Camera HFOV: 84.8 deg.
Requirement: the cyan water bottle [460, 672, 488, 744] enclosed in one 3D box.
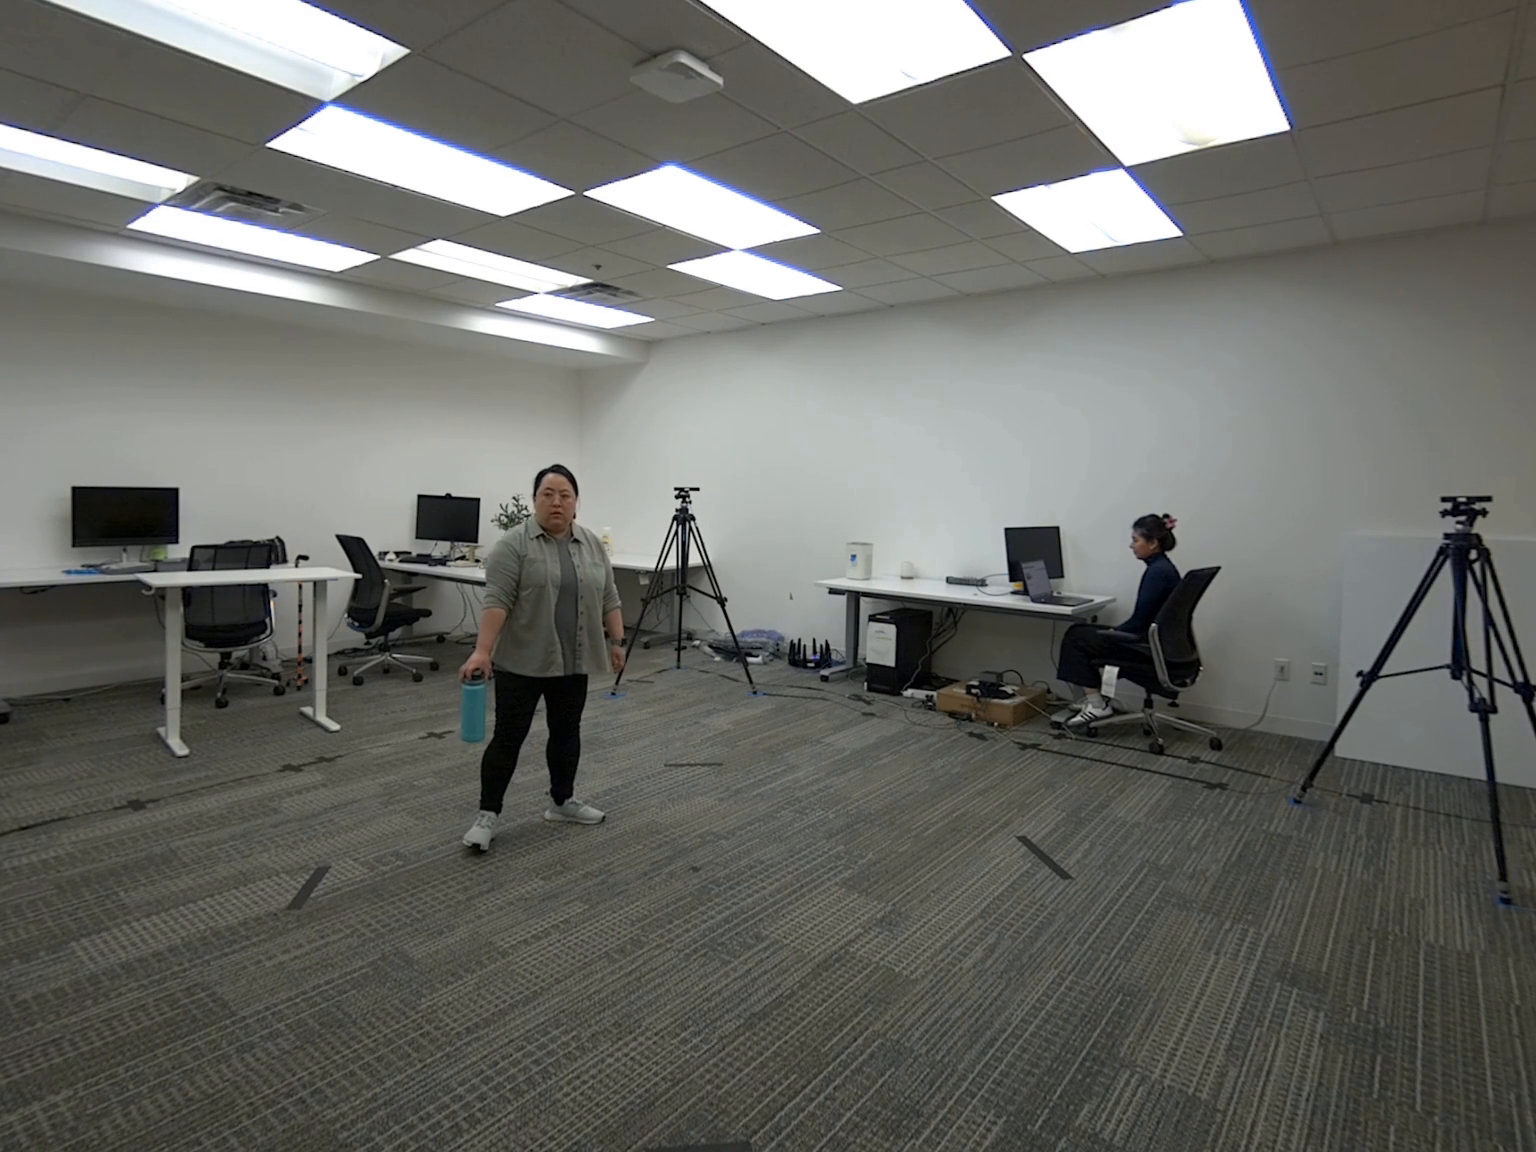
[{"bbox_3d":[-1.130,0.486,3.203,0.092,0.280,0.093,5,13,-3],"label":"cyan water bottle"}]
